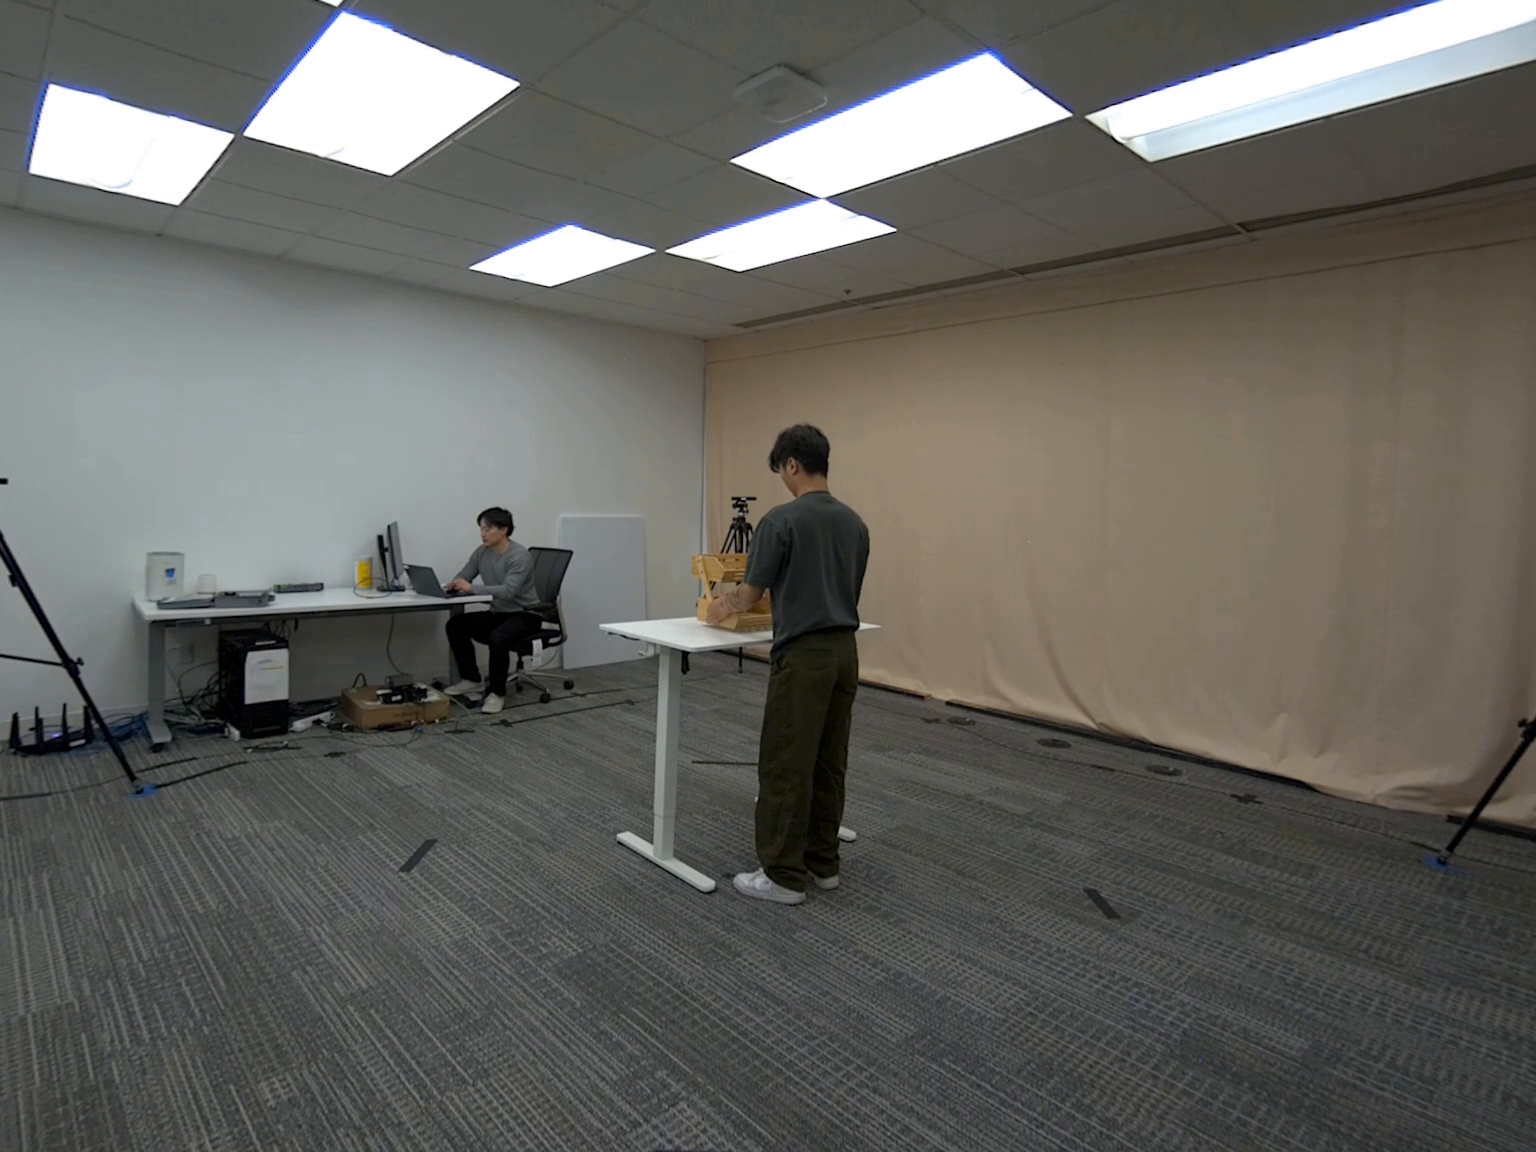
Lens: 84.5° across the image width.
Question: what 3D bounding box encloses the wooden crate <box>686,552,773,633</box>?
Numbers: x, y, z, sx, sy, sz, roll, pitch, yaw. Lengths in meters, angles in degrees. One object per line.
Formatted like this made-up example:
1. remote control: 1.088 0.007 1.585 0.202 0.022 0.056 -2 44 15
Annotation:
1. wooden crate: -0.102 0.053 3.369 0.317 0.272 0.310 -1 6 -42
